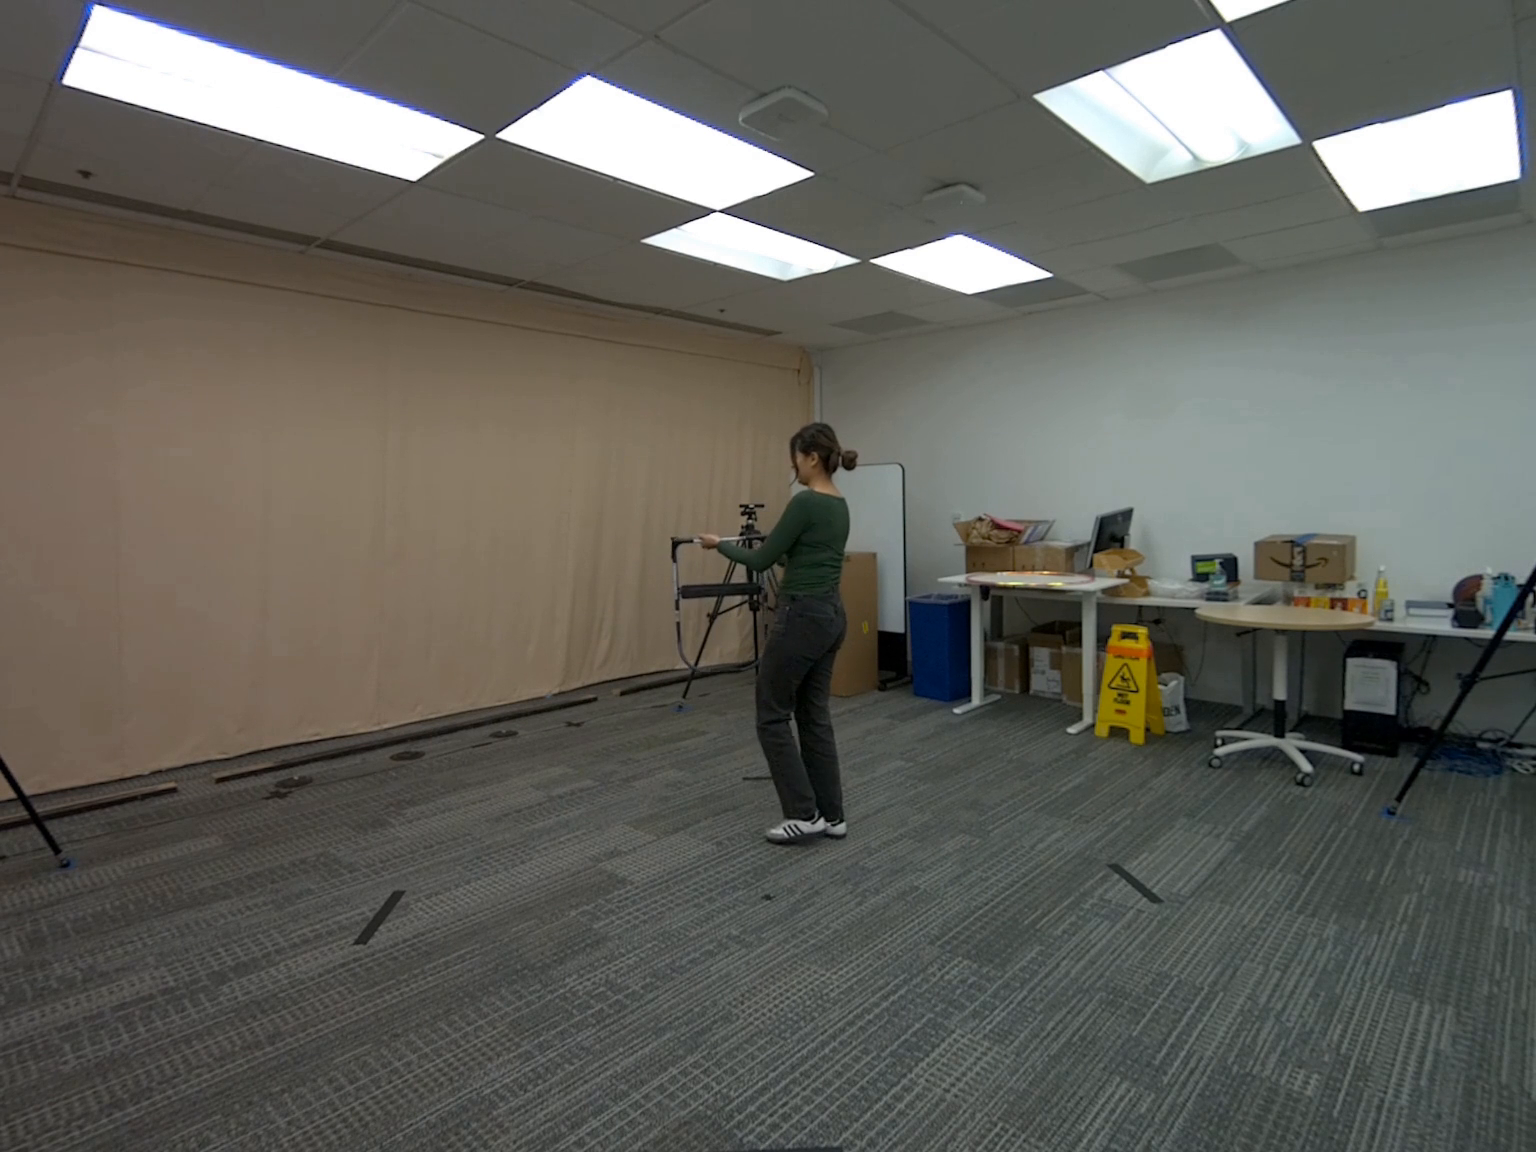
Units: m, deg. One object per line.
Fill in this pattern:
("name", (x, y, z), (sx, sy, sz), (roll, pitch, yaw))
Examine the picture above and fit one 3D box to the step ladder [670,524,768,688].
("step ladder", (-0.210, 0.122, 3.778), (0.430, 0.606, 0.350), (-3, 0, -1))
